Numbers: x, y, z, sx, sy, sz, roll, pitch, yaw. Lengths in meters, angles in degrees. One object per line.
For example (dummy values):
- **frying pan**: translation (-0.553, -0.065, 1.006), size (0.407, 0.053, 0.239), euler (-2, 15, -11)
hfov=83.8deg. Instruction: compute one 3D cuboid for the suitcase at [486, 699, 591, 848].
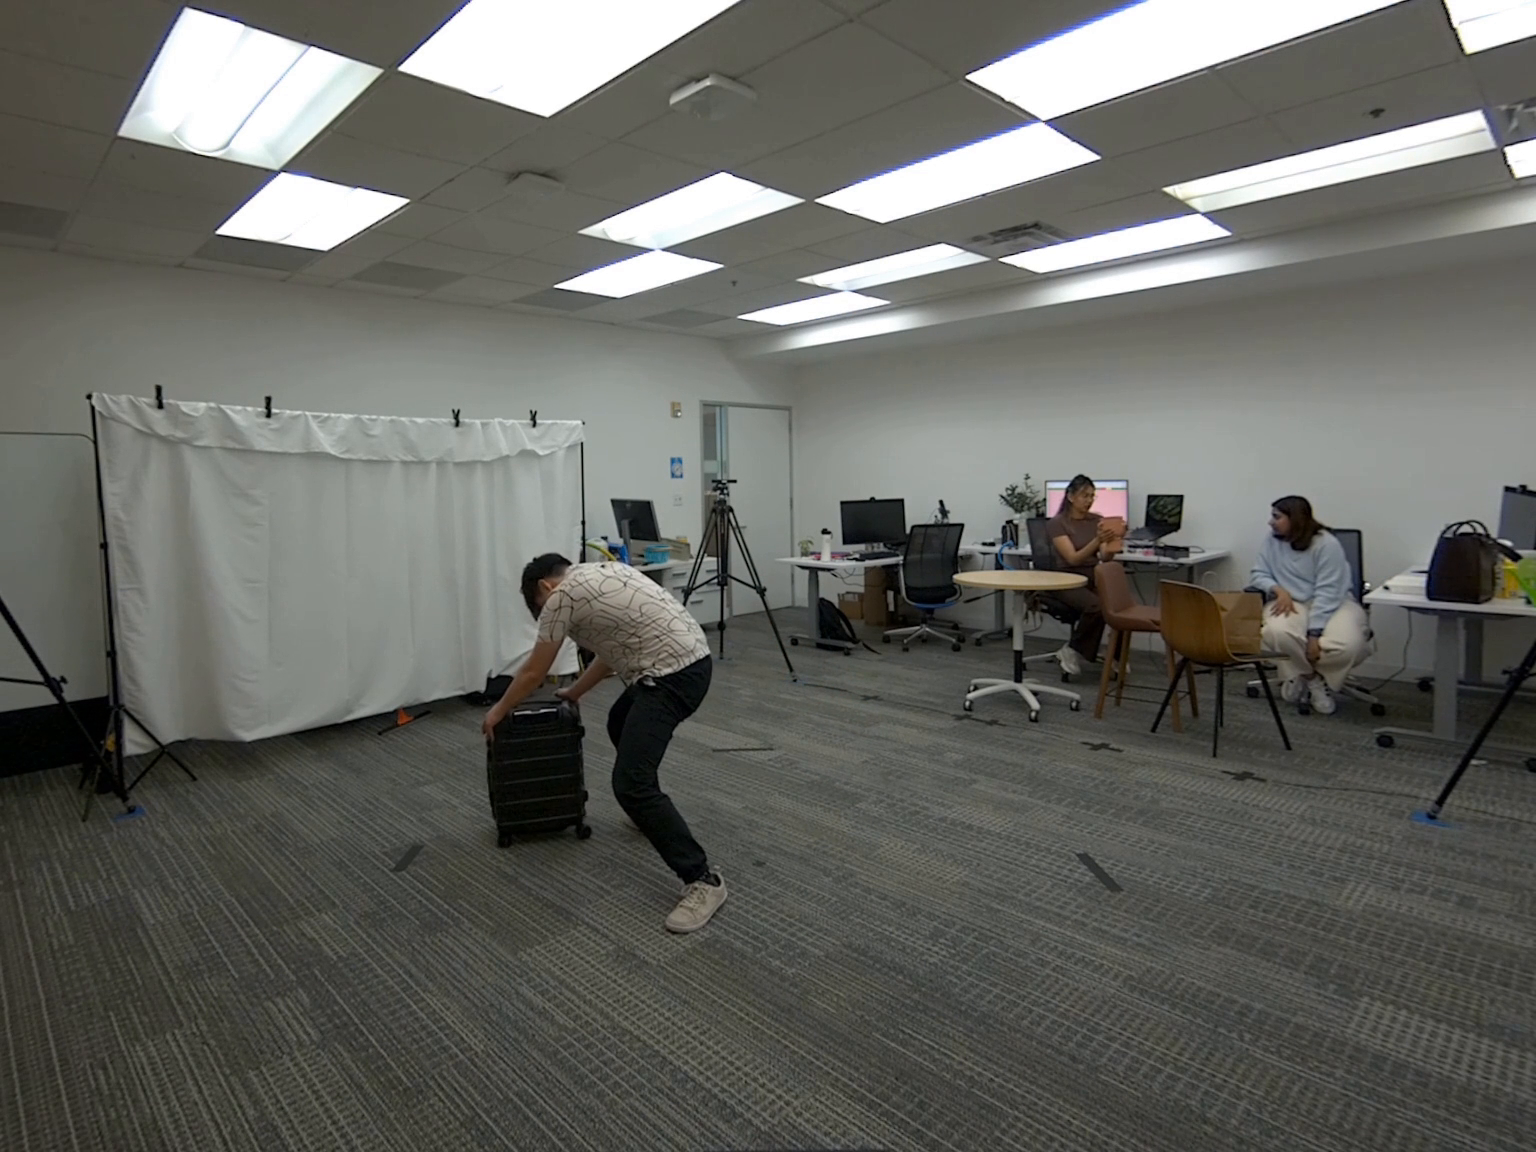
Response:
- **suitcase**: translation (-0.926, 0.762, 3.404), size (0.370, 0.547, 0.253), euler (-4, 5, -17)
